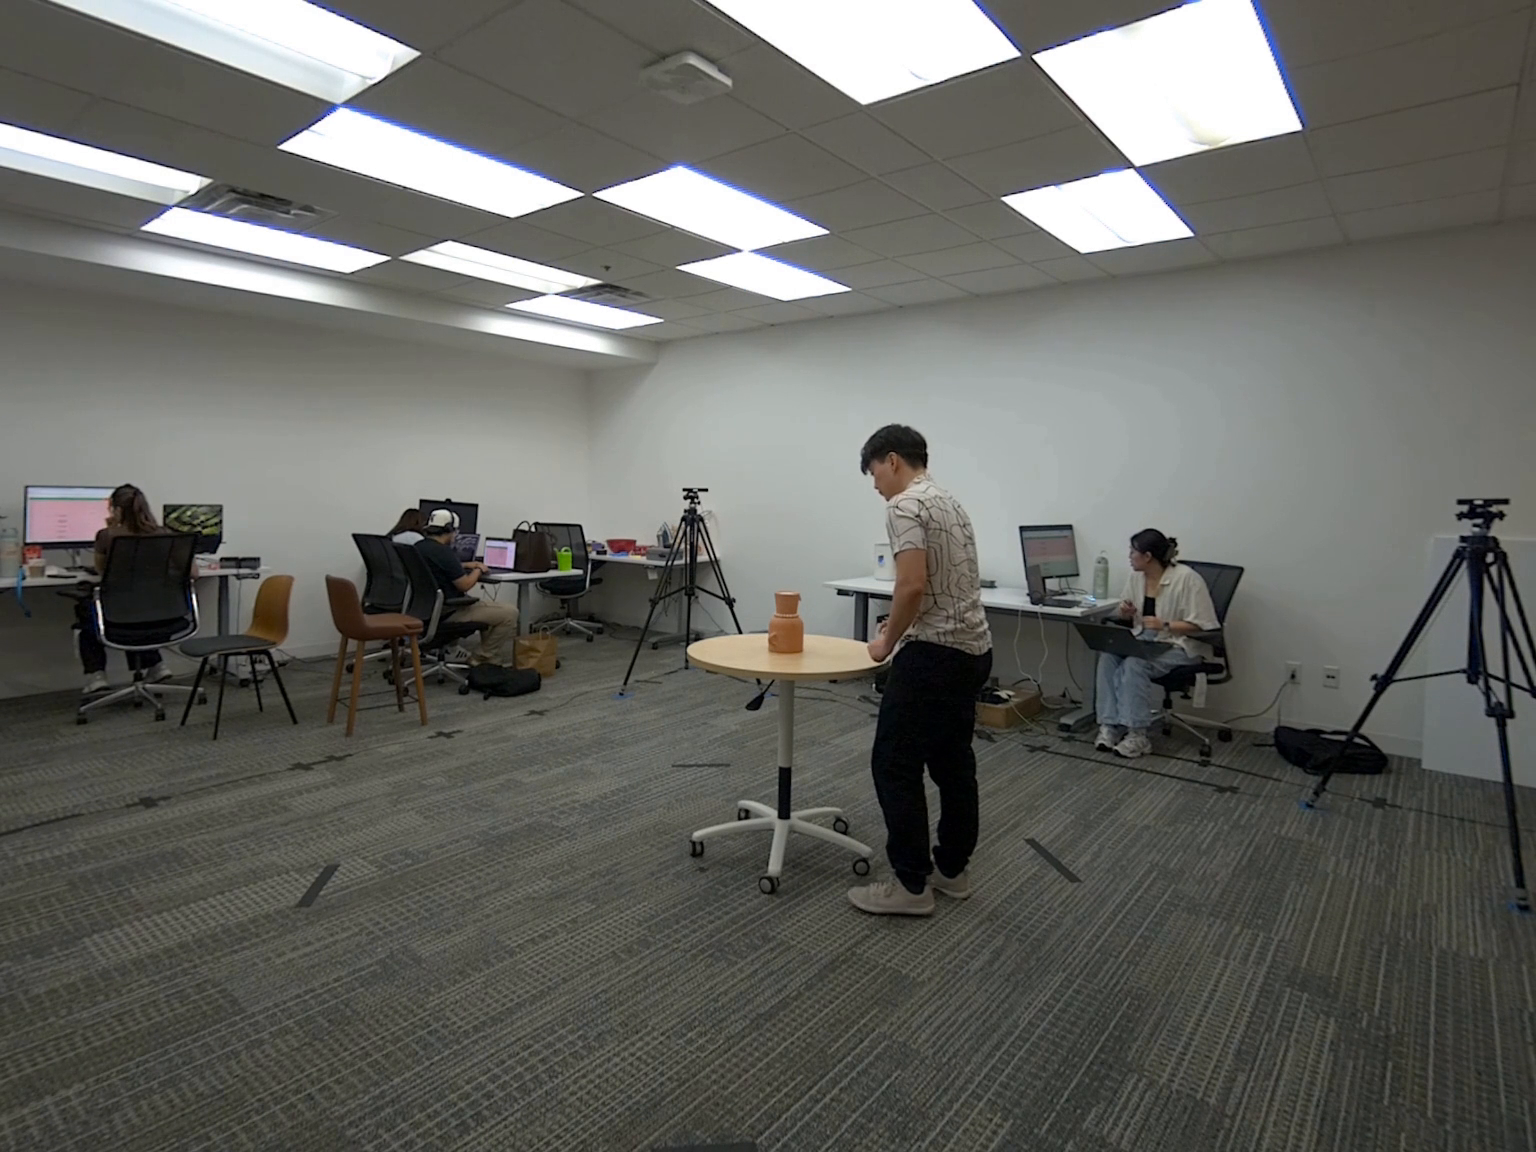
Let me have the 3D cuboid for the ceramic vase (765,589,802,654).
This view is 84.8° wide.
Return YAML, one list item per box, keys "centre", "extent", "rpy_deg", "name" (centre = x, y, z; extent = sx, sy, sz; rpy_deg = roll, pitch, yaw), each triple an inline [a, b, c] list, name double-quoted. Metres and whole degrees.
- centre: [0.057, 0.169, 3.223]
  extent: [0.135, 0.219, 0.159]
  rpy_deg: [0, 4, 3]
  name: "ceramic vase"
